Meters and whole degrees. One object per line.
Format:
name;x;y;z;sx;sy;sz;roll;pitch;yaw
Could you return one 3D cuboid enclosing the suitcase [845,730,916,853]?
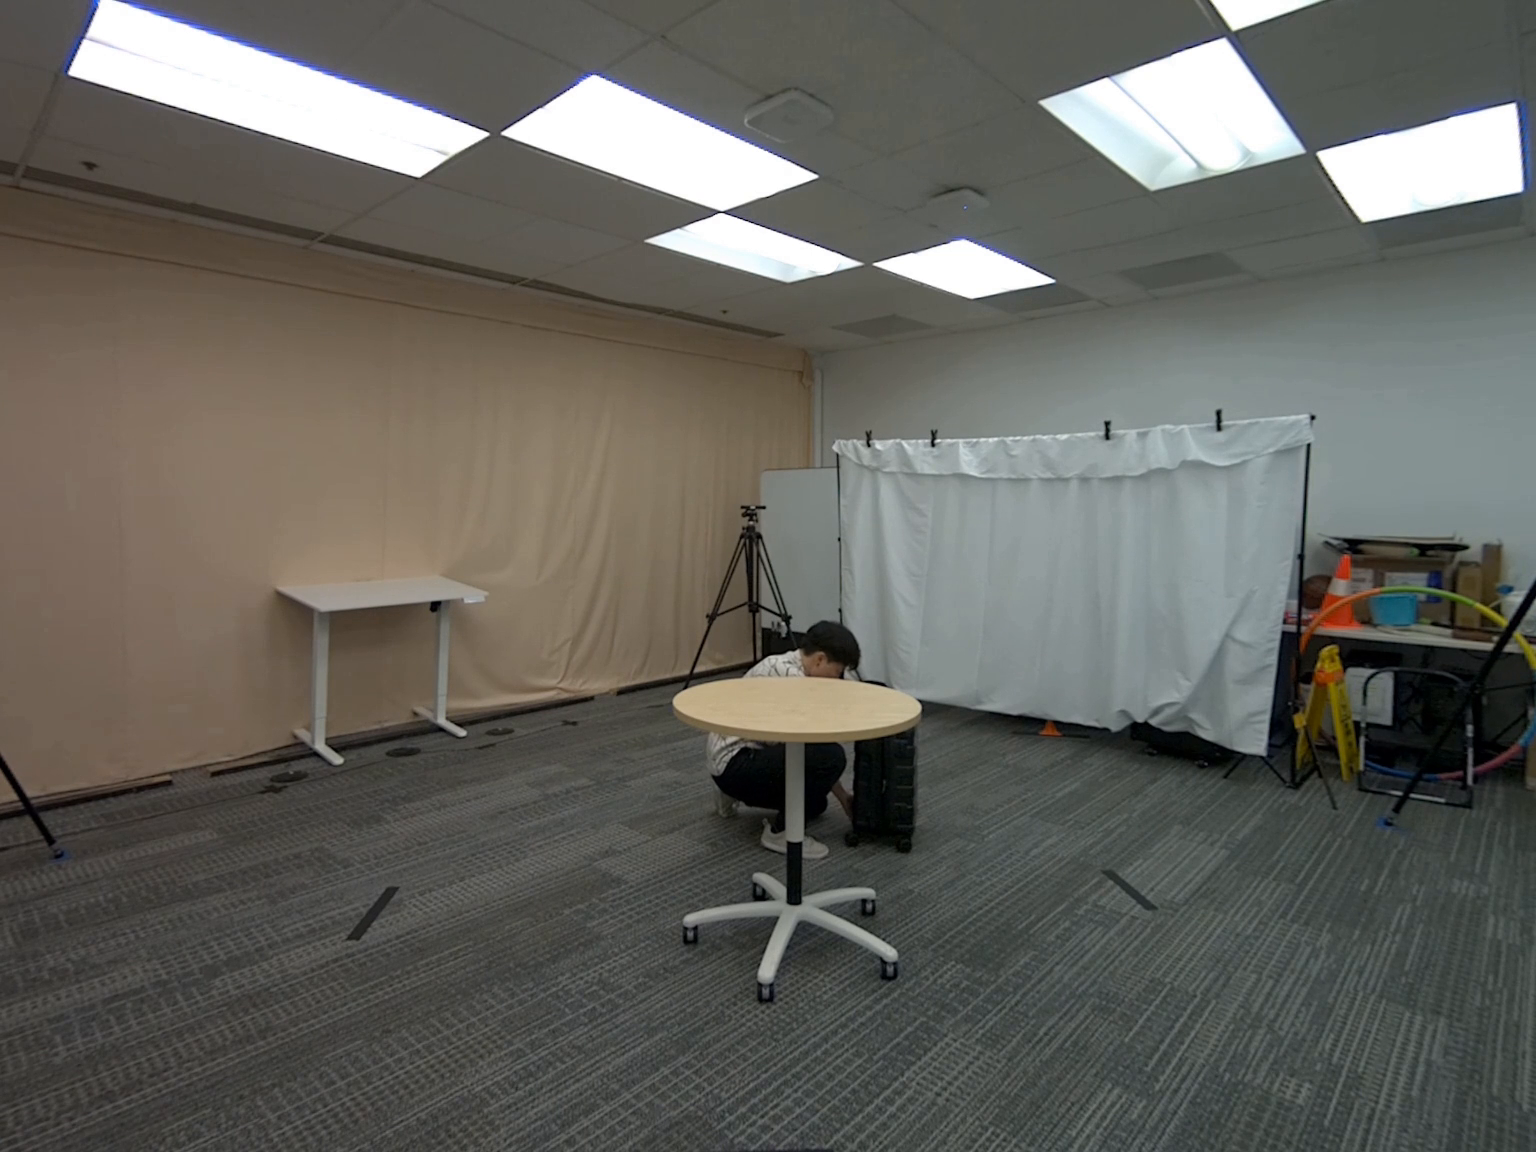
suitcase;0.497;0.824;3.551;0.252;0.548;0.370;3;2;14
